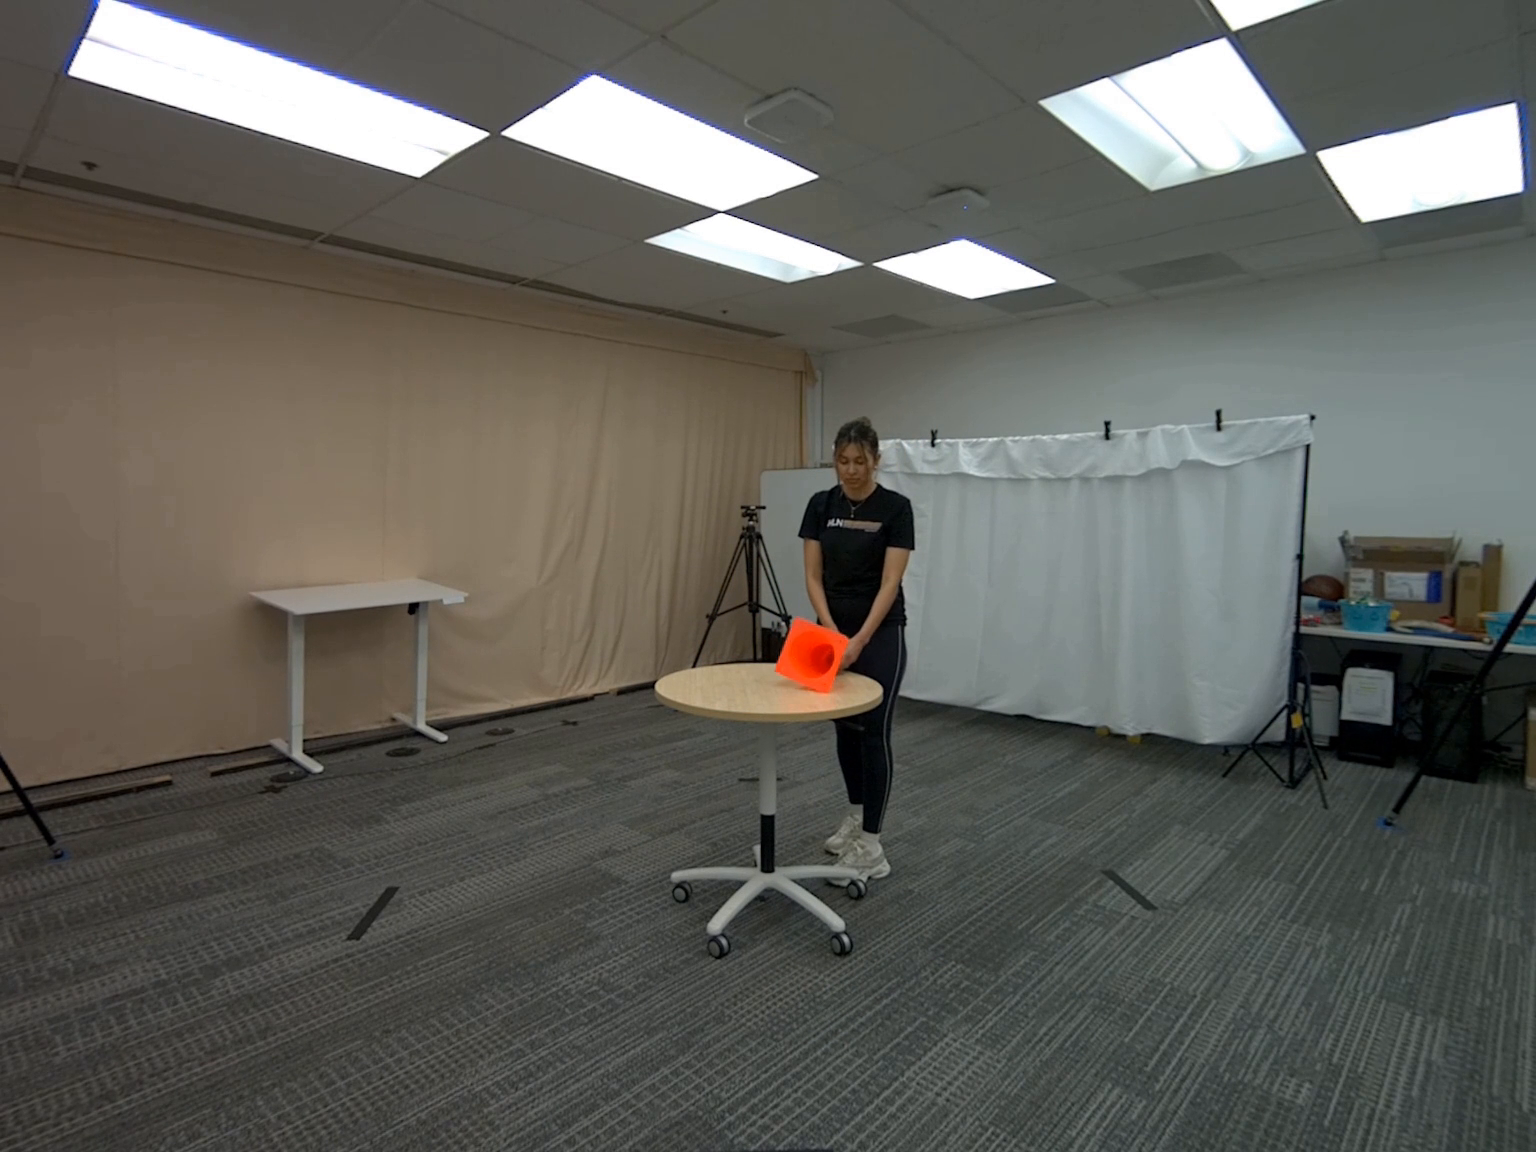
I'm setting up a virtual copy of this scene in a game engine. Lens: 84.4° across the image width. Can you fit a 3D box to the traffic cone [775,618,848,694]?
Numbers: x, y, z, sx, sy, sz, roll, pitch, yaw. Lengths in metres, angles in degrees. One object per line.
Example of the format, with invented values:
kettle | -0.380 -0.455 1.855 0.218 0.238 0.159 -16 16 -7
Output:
traffic cone | 0.209 0.292 2.947 0.210 0.203 0.373 21 -2 22
